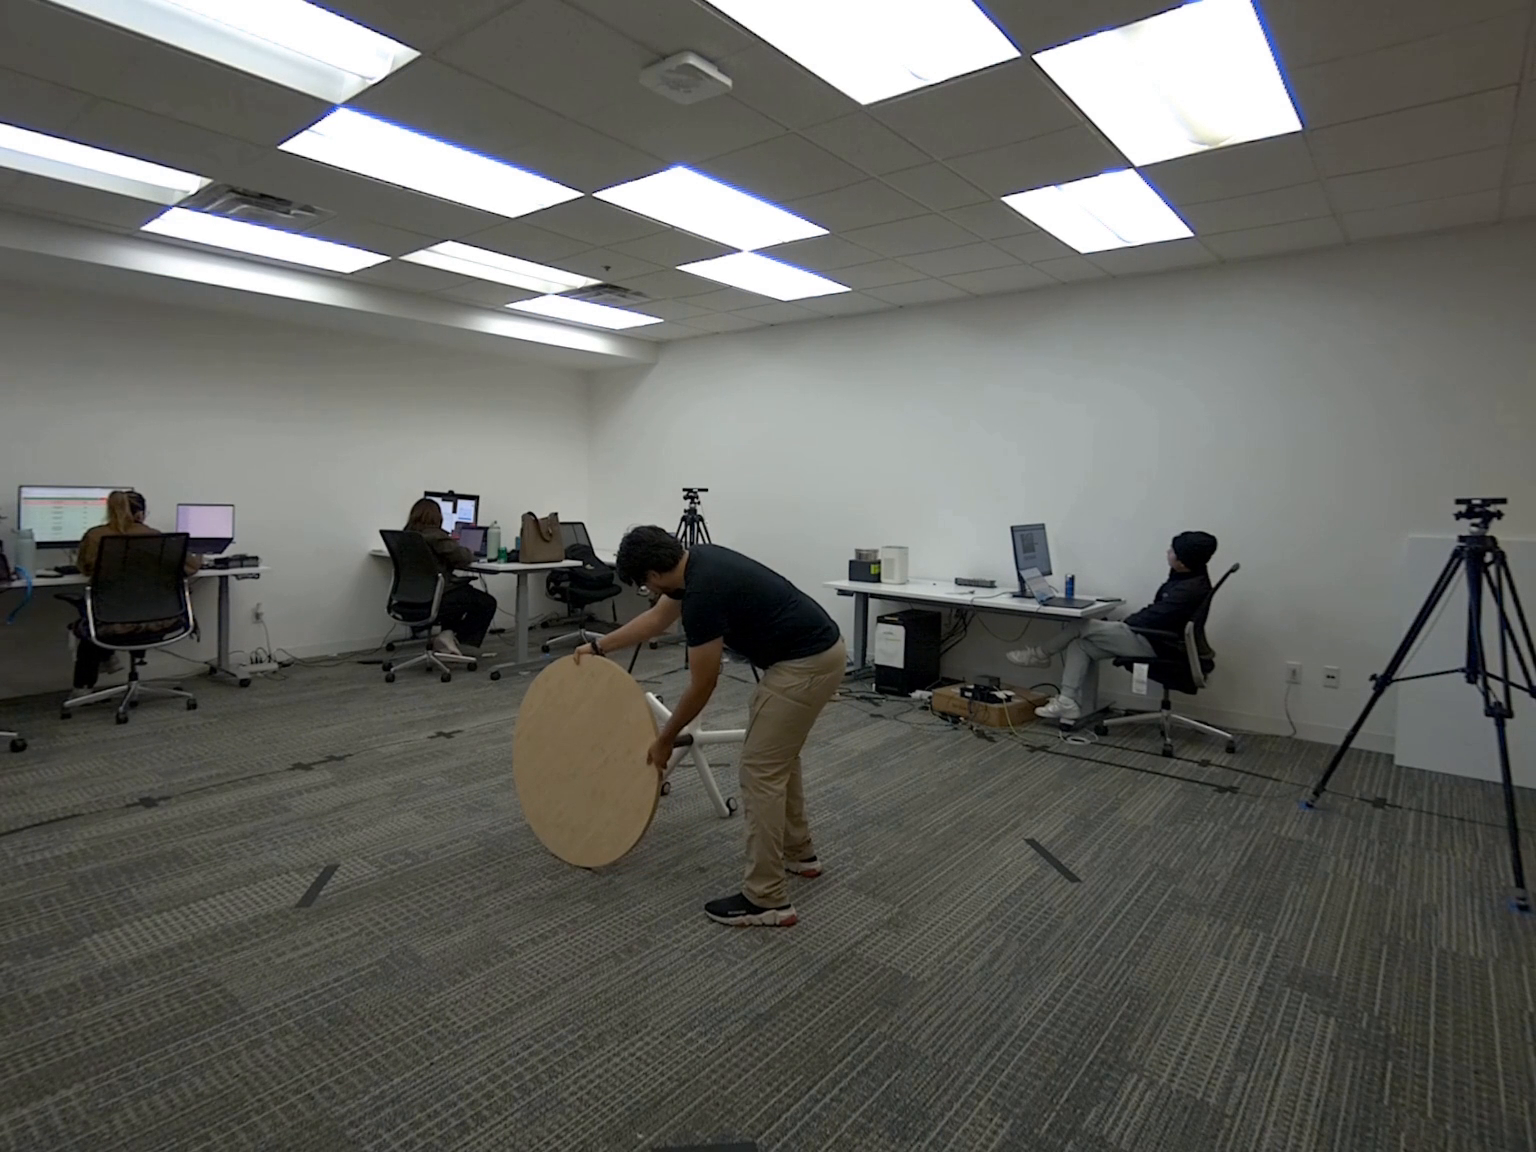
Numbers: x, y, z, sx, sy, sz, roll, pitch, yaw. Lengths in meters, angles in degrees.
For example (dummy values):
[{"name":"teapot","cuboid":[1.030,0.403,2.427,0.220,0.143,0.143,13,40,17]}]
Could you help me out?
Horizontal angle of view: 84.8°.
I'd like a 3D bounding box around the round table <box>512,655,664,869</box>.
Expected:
[{"name":"round table","cuboid":[-0.498,0.683,3.472,0.810,0.787,0.760,4,-2,34]}]
